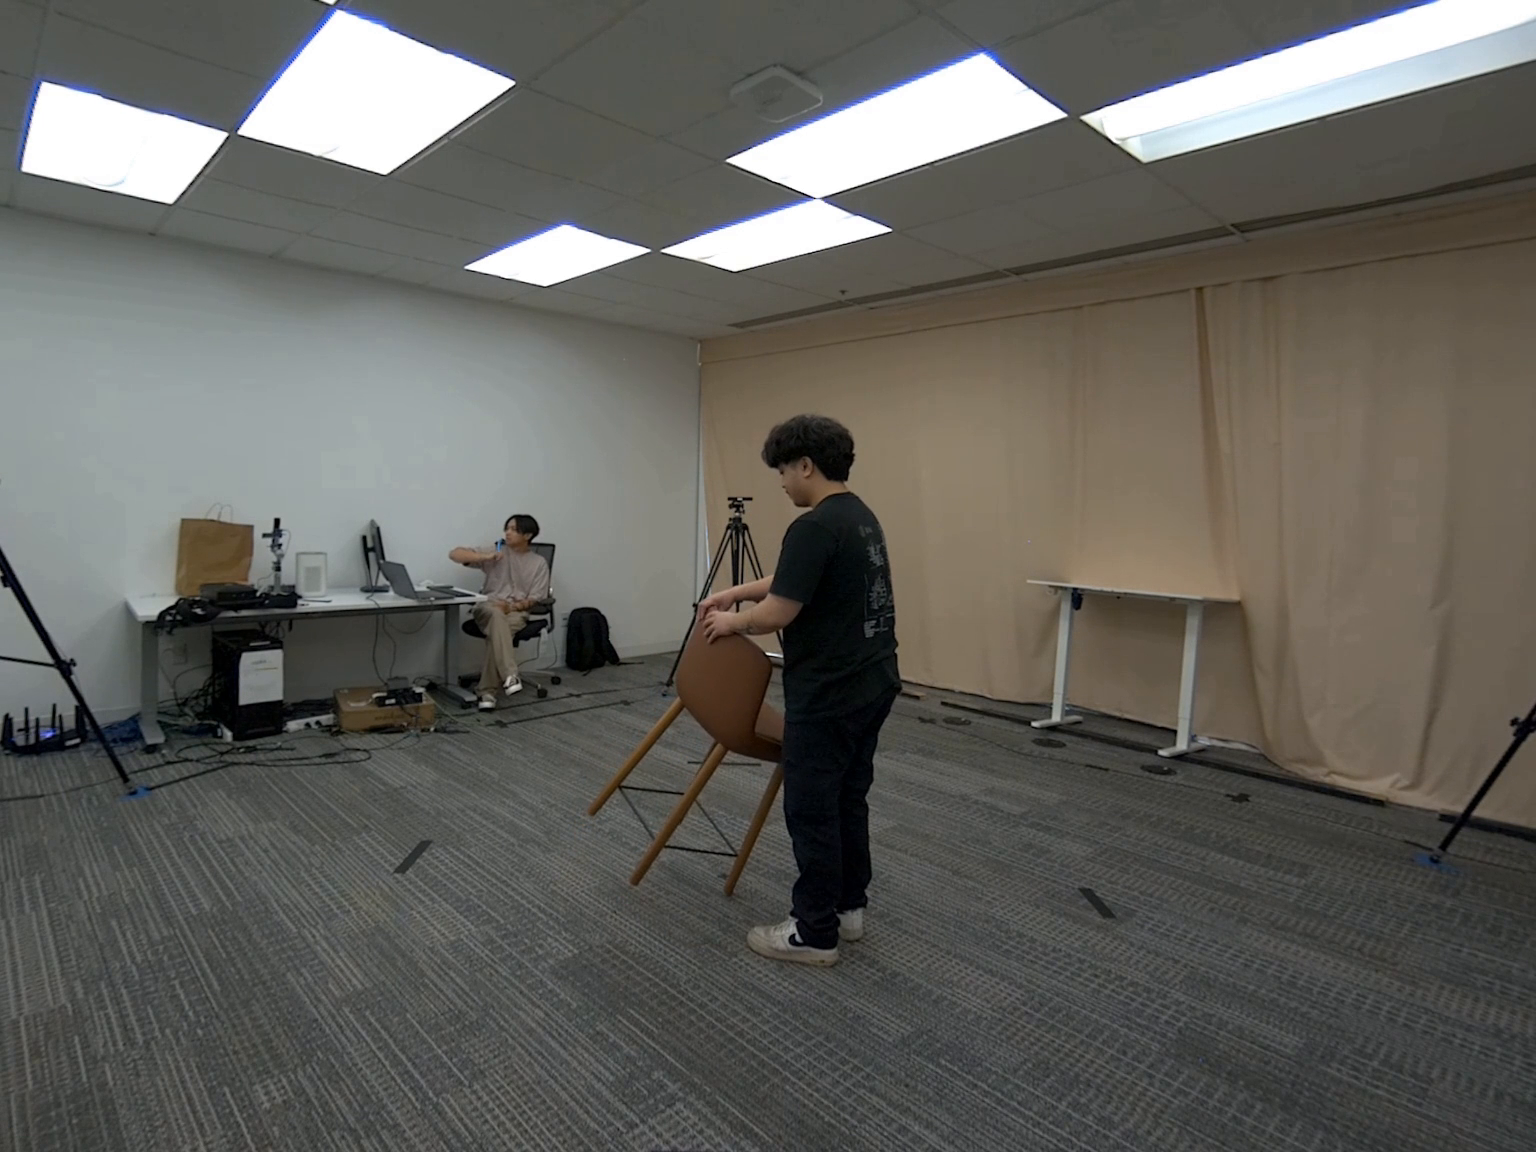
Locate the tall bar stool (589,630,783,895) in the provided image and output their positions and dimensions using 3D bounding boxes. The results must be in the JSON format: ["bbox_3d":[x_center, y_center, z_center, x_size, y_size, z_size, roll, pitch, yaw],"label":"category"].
[{"bbox_3d":[-0.188,0.599,2.912,0.454,0.887,0.471,21,10,-41],"label":"tall bar stool"}]
